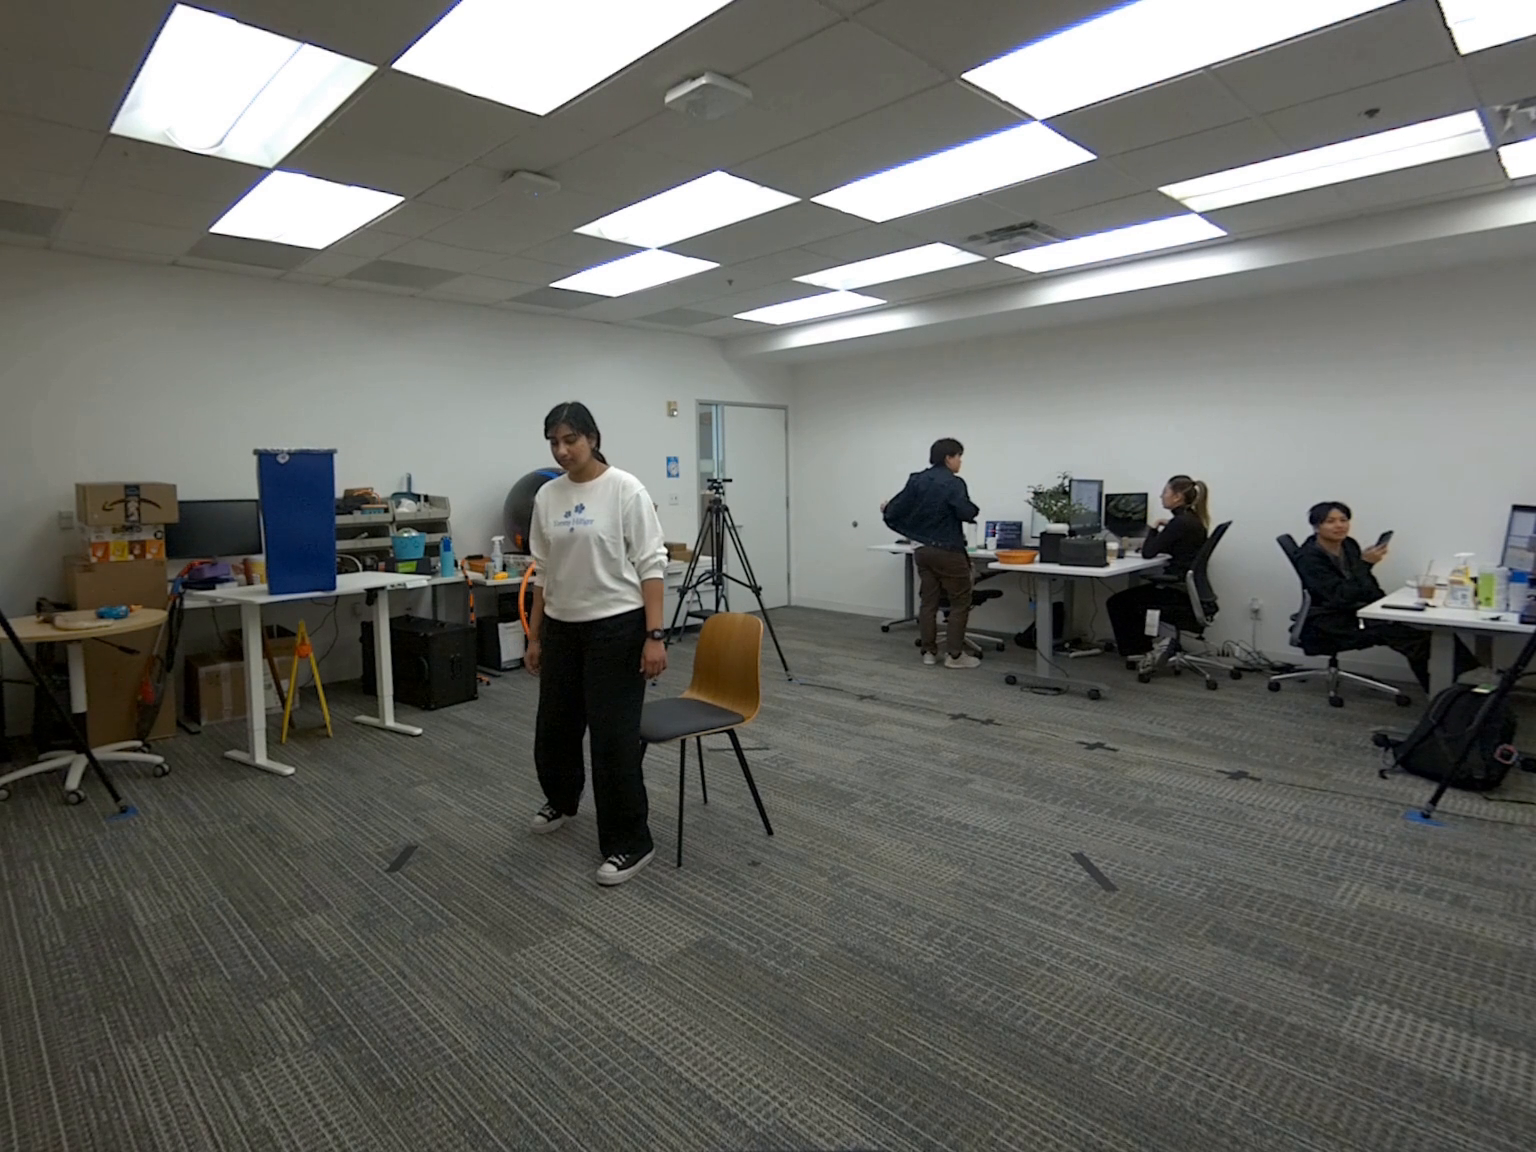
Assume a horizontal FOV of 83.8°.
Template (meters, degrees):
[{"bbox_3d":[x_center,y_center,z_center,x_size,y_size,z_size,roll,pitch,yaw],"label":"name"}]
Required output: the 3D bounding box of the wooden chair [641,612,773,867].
[{"bbox_3d":[-0.302,0.591,3.361,0.508,0.876,0.493,1,2,-40],"label":"wooden chair"}]
